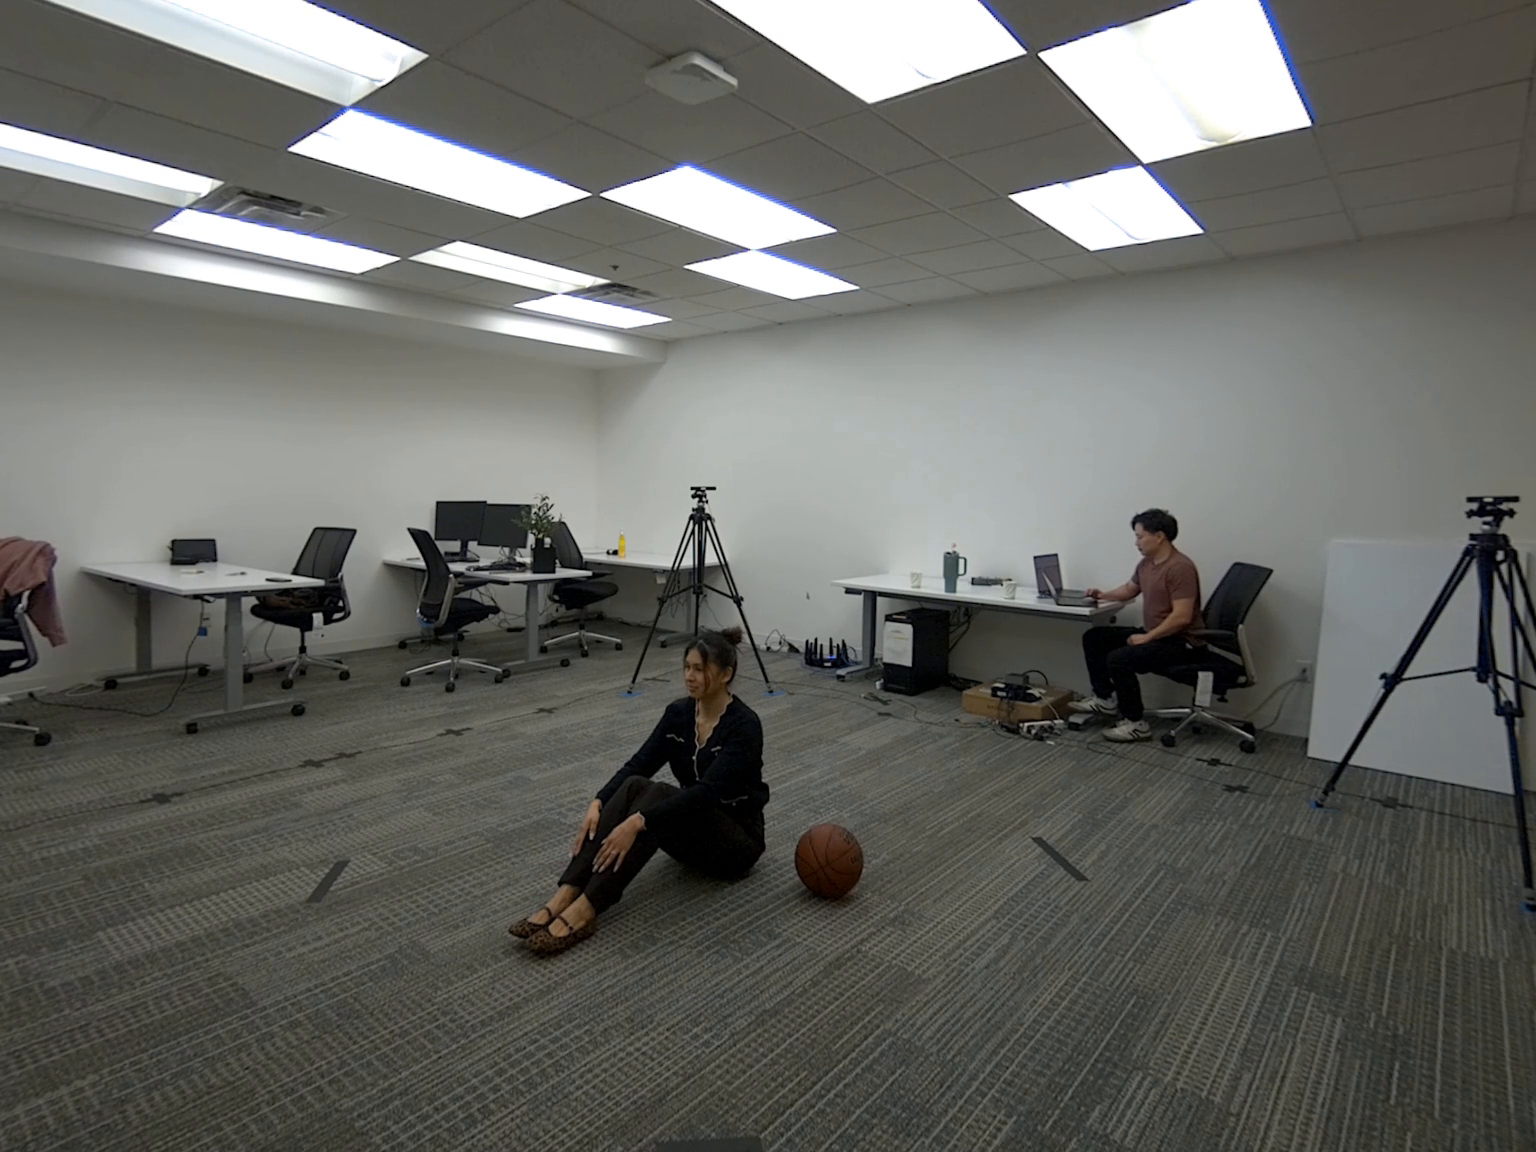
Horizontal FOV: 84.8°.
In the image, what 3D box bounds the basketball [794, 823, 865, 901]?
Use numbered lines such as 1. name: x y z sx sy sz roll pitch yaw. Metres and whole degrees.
1. basketball: 0.202 0.976 2.924 0.235 0.235 0.237 1 4 -2
